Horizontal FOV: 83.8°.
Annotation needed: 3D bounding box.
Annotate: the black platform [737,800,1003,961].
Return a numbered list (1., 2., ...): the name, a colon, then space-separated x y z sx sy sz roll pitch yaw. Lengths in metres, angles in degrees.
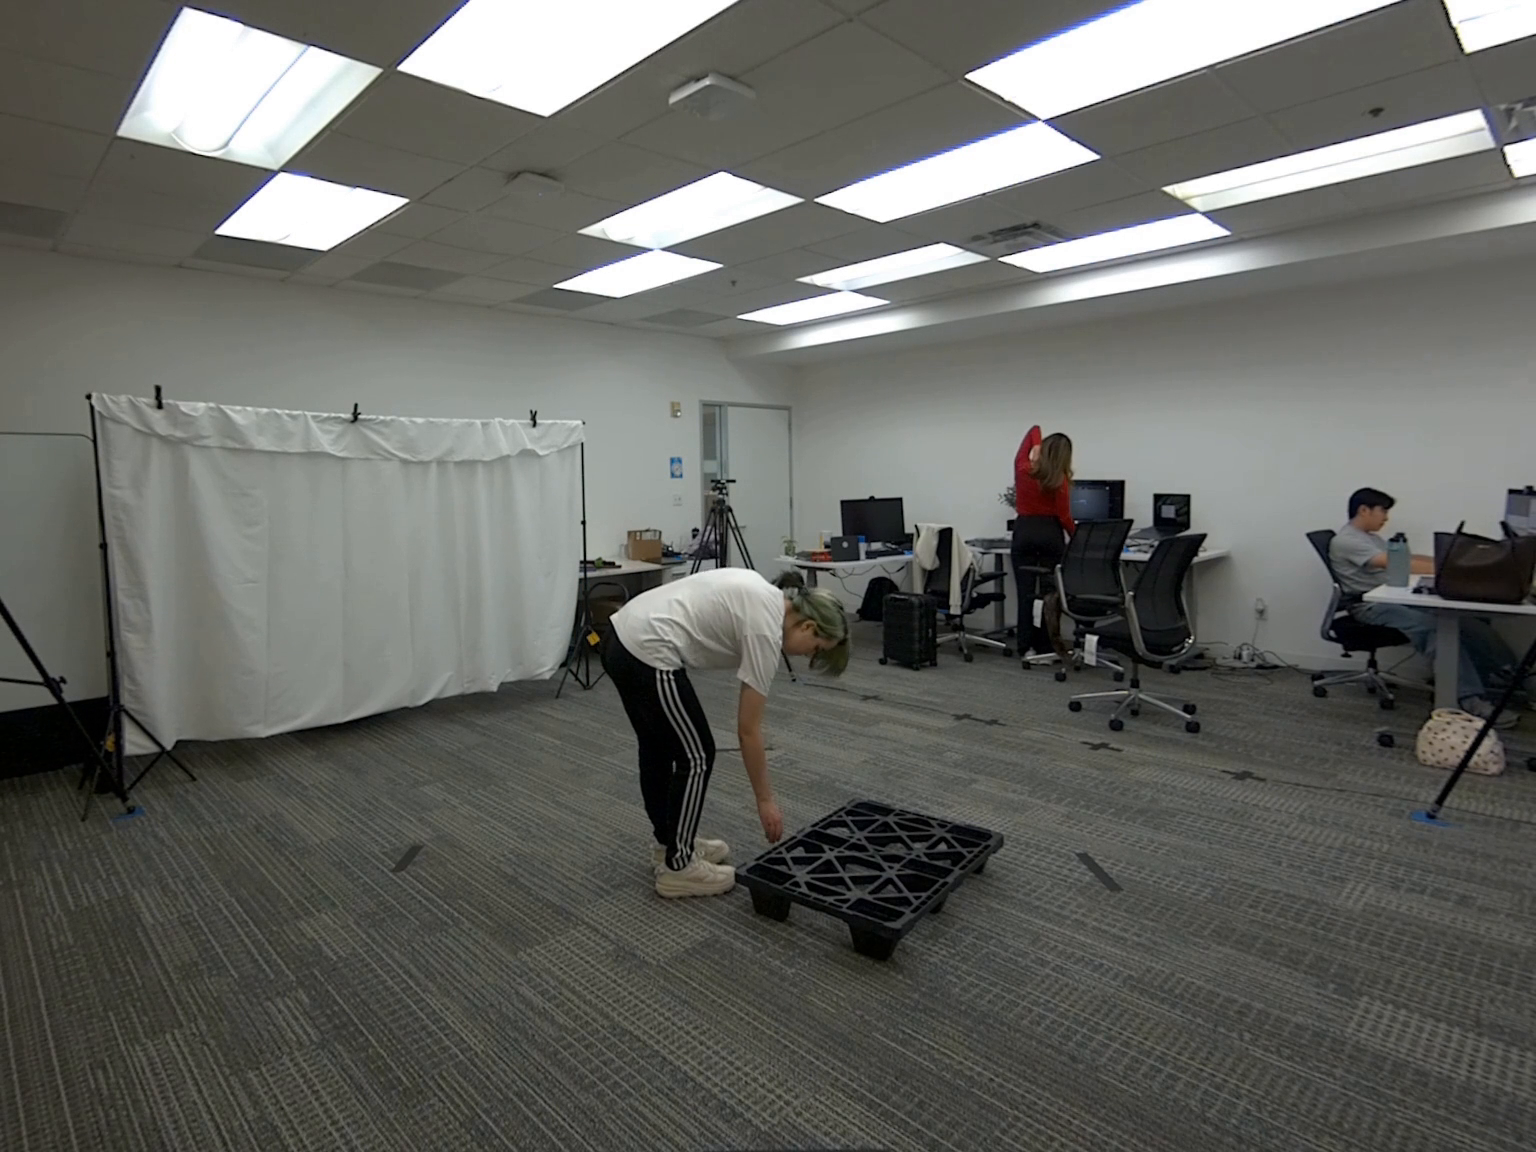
1. black platform: 0.369 0.998 2.889 0.623 0.142 0.786 4 9 37
